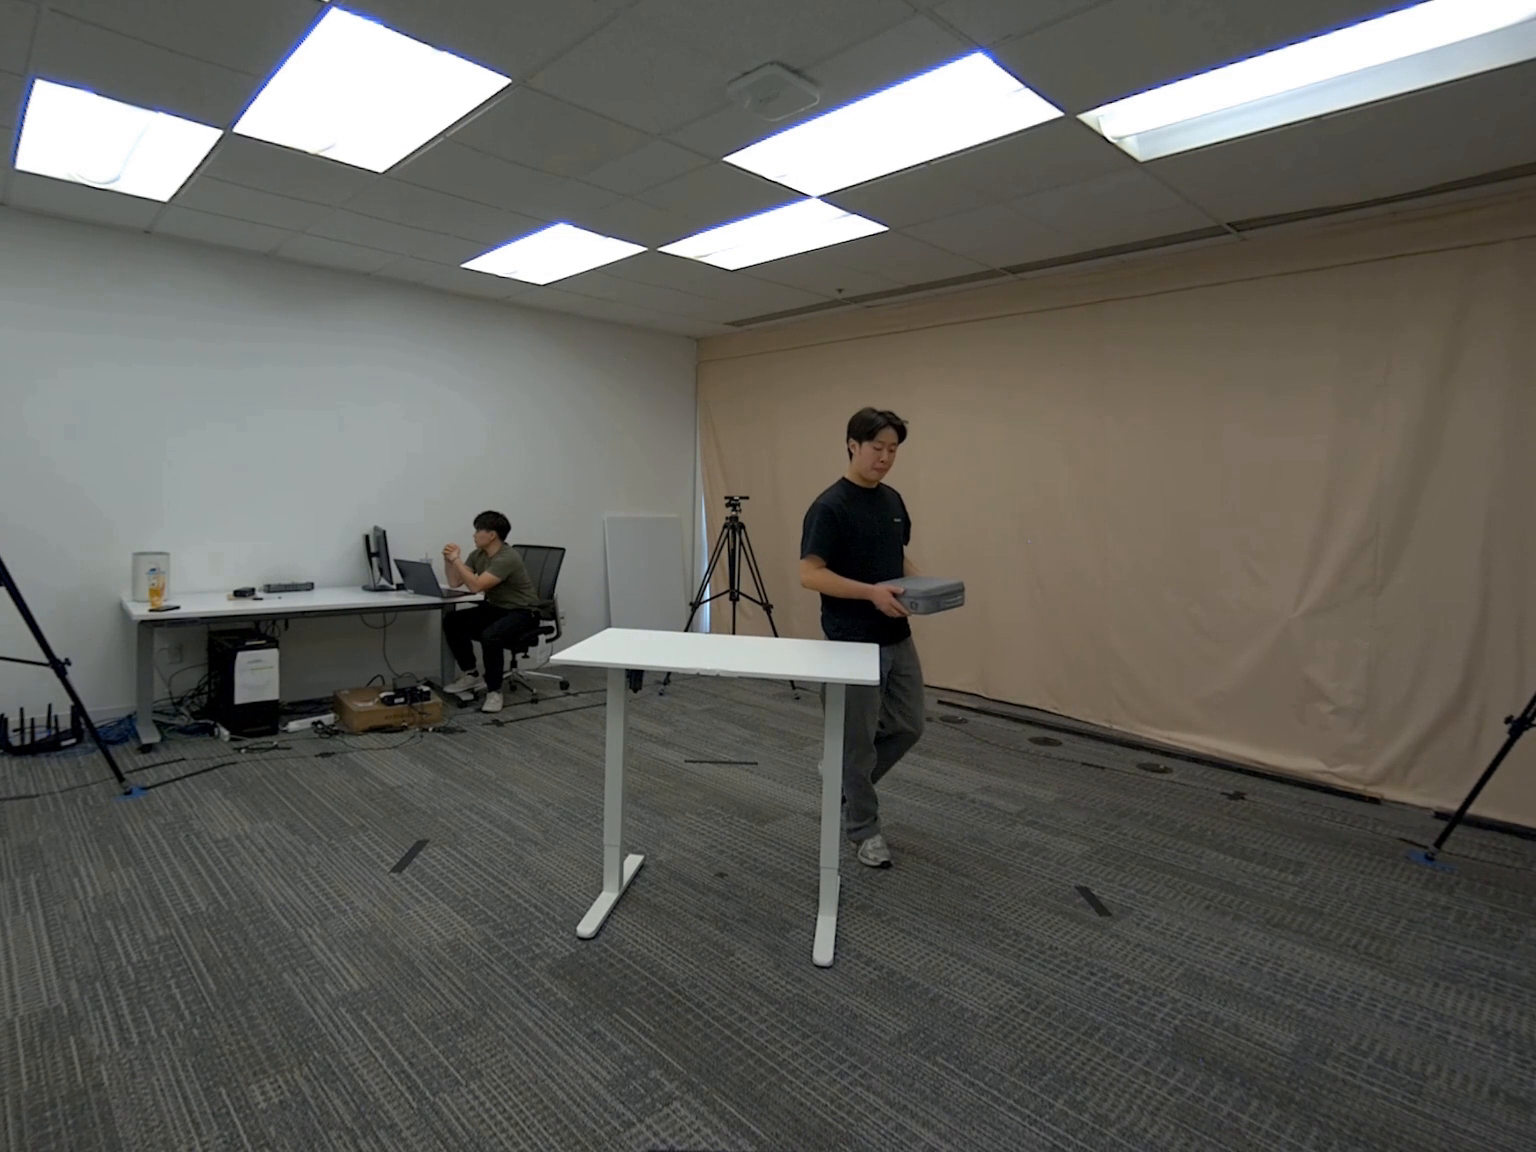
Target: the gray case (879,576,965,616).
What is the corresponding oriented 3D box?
[{"bbox_3d":[0.553,0.073,3.112,0.258,0.102,0.294,-9,10,-38],"label":"gray case"}]
